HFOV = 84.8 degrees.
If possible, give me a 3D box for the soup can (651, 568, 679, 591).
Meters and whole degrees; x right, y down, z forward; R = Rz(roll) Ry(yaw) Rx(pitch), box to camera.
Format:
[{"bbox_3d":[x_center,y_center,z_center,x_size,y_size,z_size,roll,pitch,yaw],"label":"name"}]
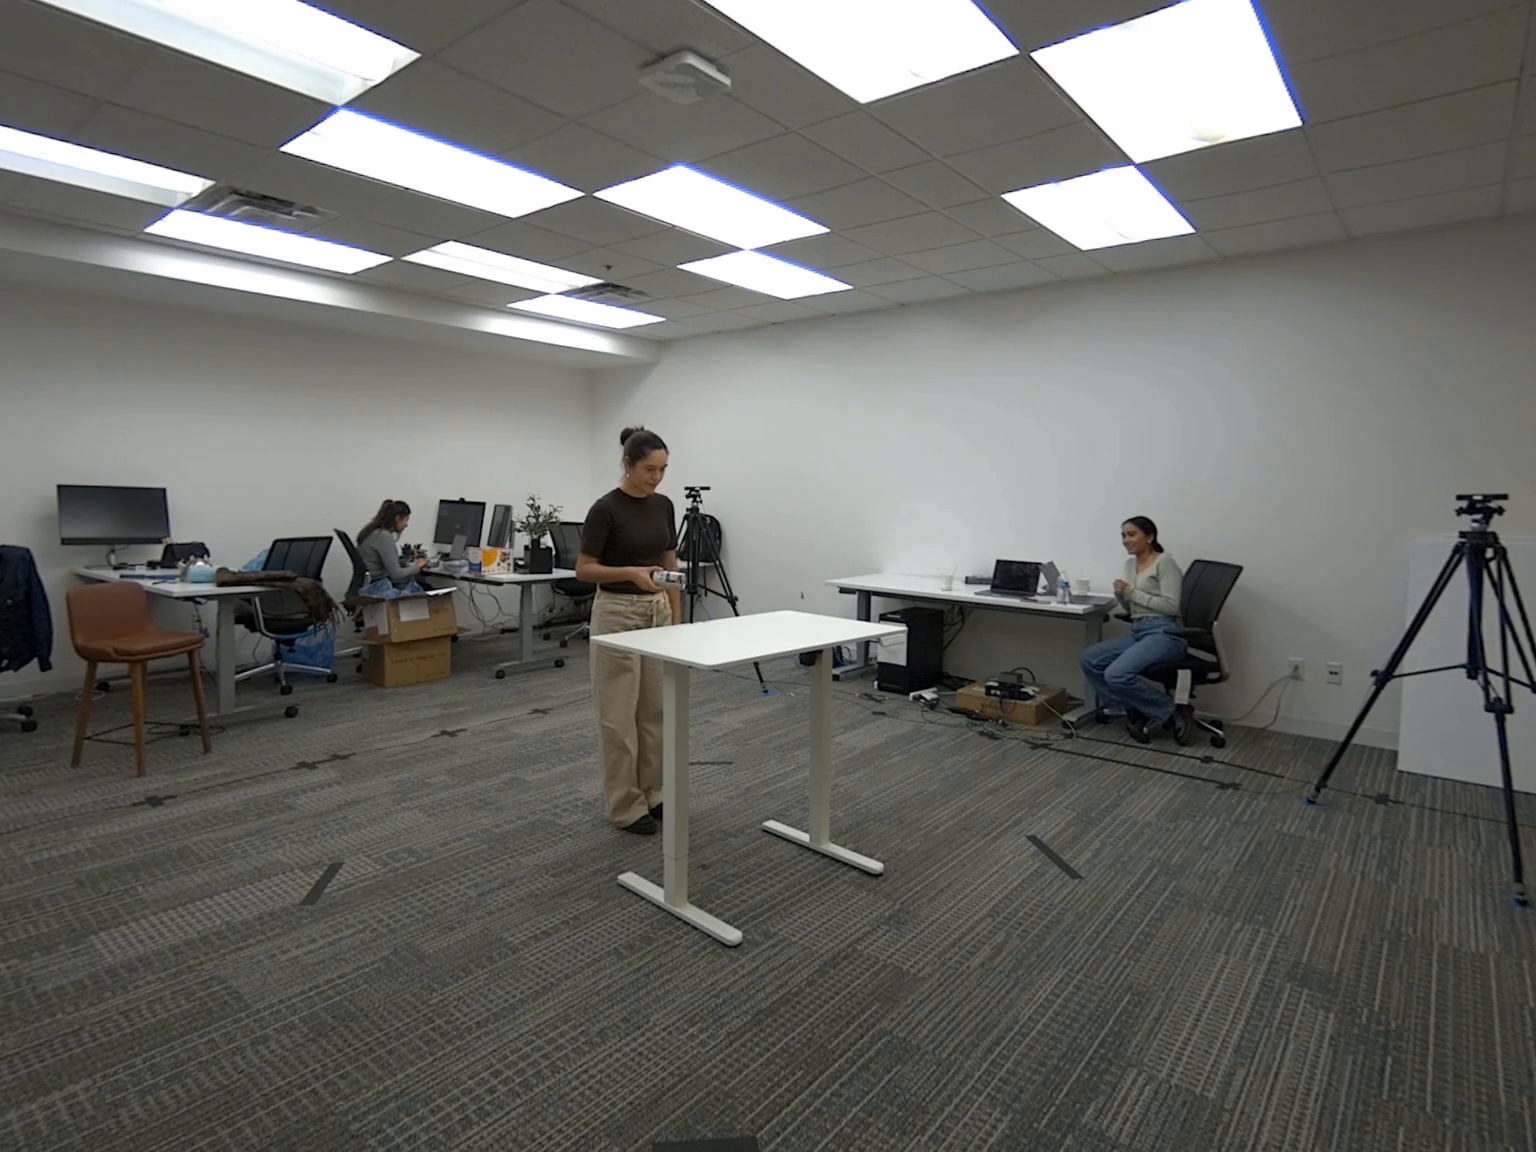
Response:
[{"bbox_3d":[-0.417,0.027,3.237,0.067,0.121,0.067,-7,4,-1],"label":"soup can"}]
